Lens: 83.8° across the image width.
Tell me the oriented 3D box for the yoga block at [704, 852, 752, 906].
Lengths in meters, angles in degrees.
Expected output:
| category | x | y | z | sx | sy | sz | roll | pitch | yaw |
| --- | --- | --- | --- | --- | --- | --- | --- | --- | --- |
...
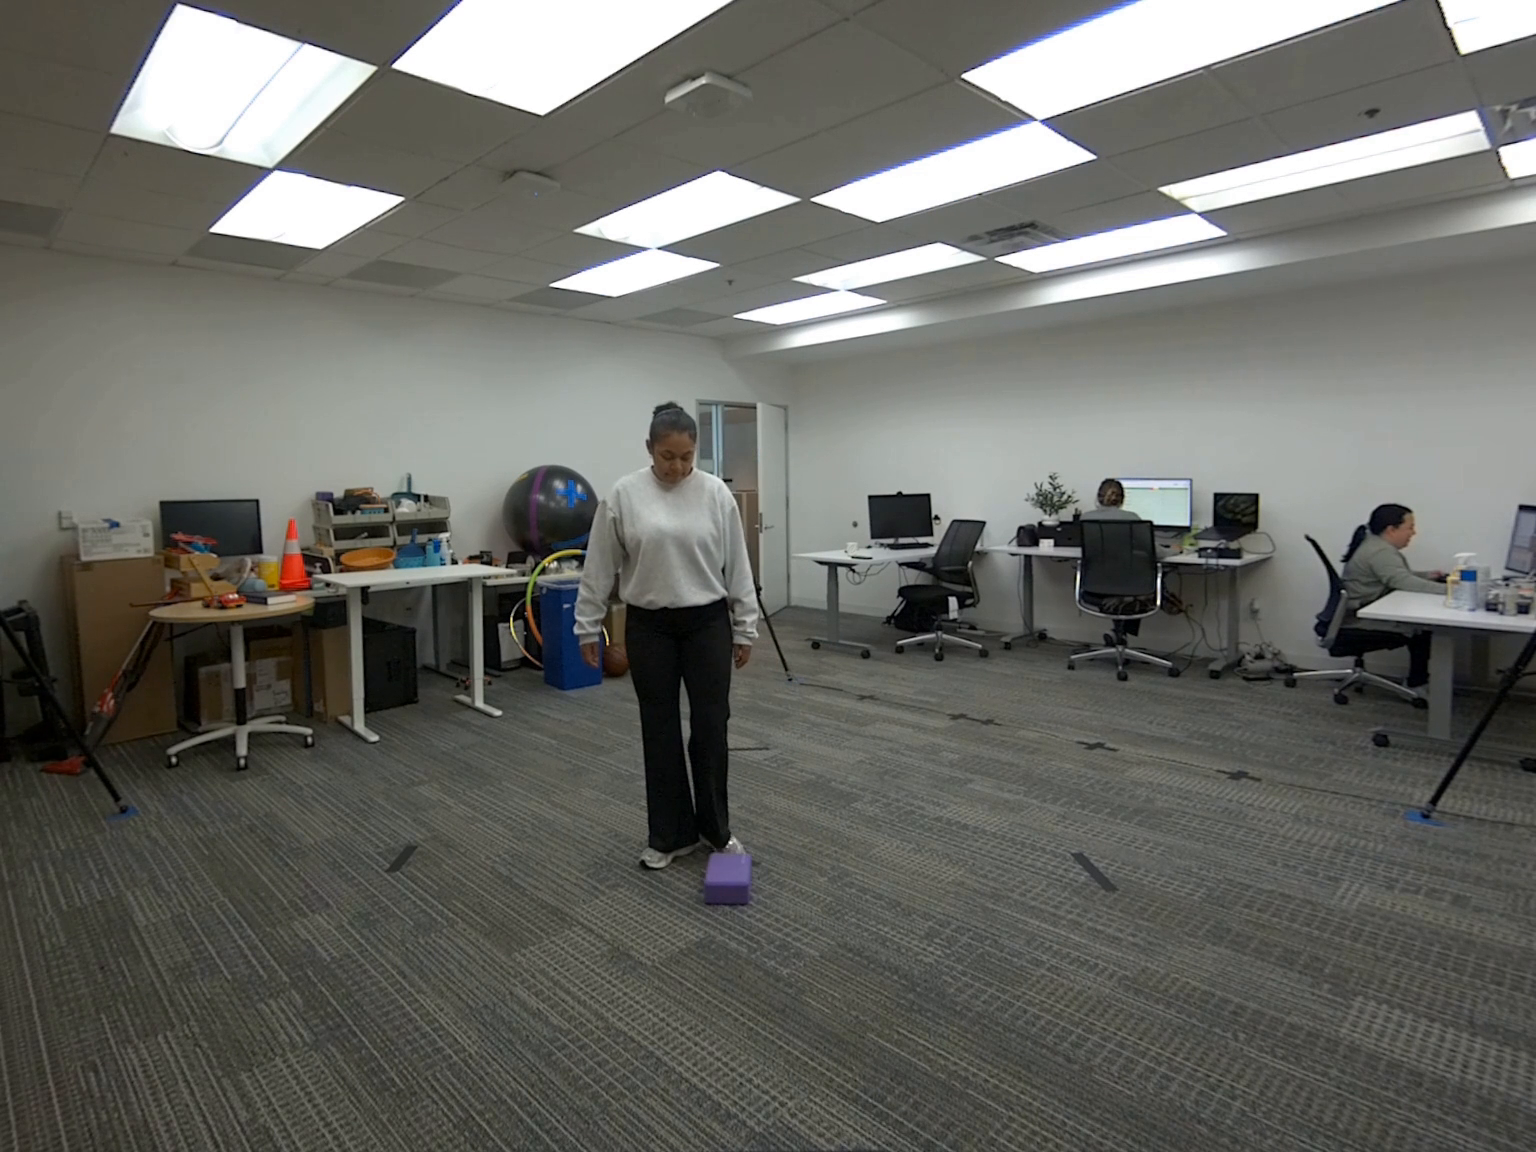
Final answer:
| category | x | y | z | sx | sy | sz | roll | pitch | yaw |
| --- | --- | --- | --- | --- | --- | --- | --- | --- | --- |
| yoga block | -0.131 | 1.030 | 2.906 | 0.149 | 0.076 | 0.230 | 1 | 6 | 2 |
